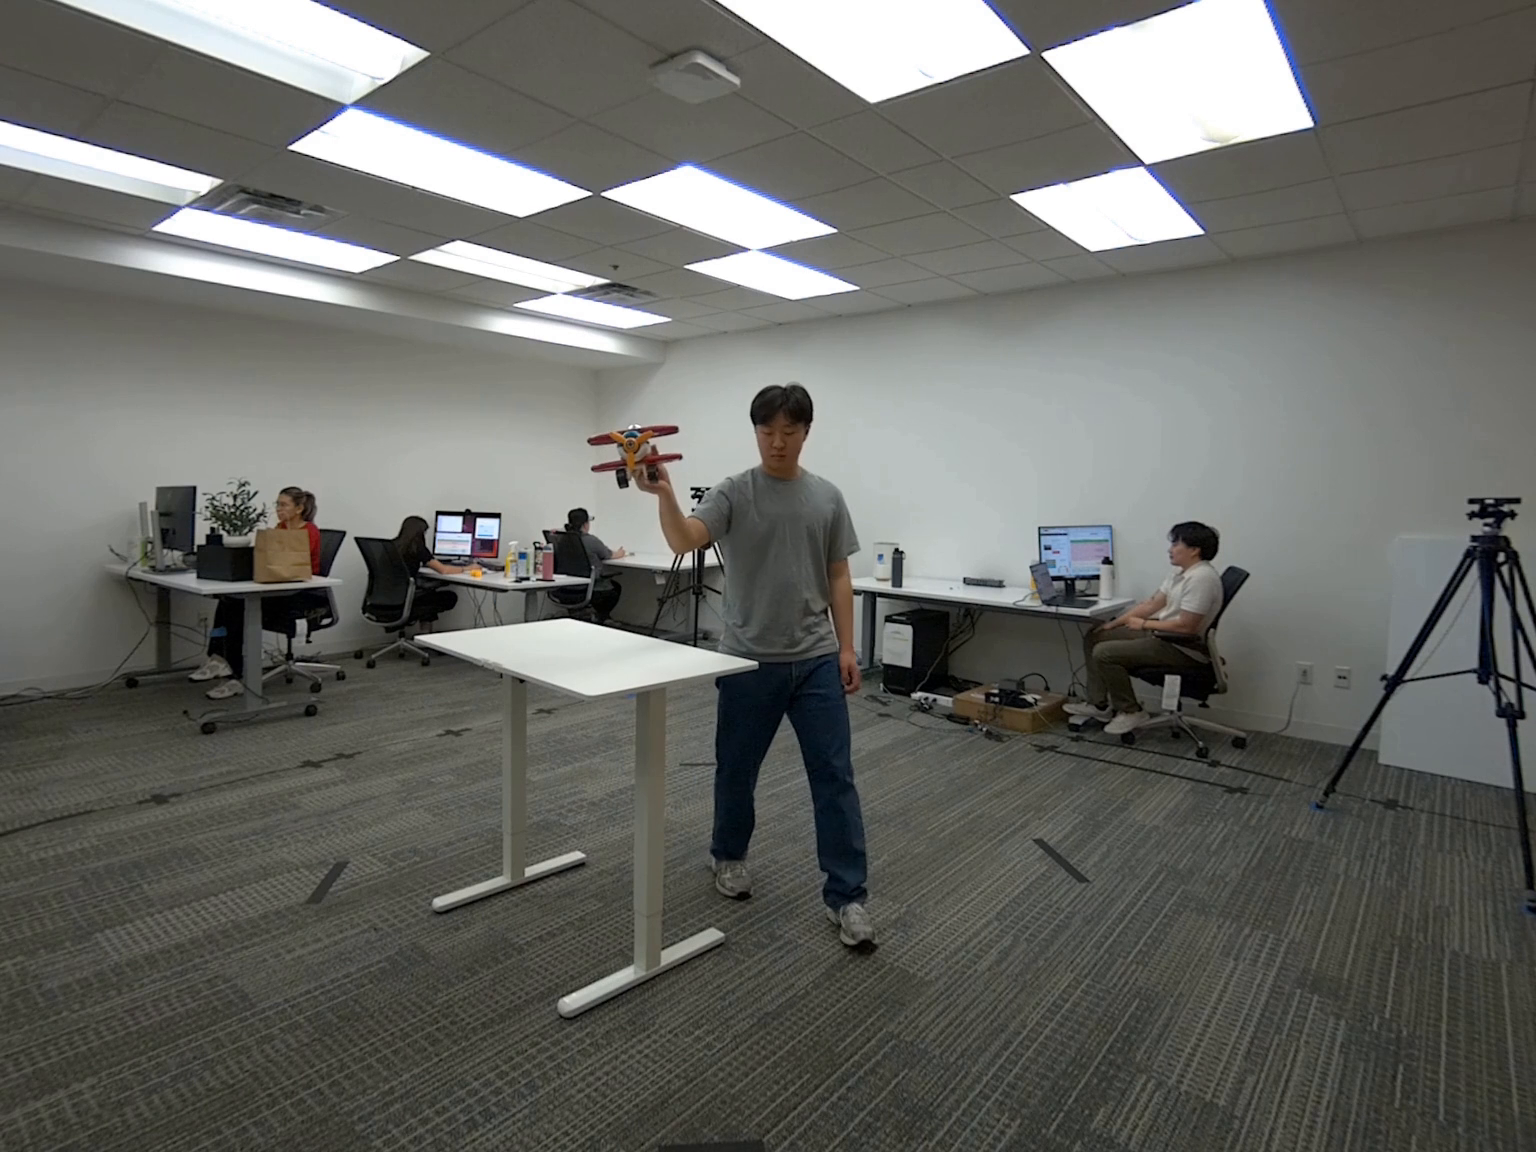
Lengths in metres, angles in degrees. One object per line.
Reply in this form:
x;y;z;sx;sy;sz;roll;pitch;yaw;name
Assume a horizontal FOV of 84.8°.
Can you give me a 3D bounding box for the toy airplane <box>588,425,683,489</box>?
-0.396;-0.339;2.385;0.246;0.154;0.268;-16;16;-27;toy airplane
